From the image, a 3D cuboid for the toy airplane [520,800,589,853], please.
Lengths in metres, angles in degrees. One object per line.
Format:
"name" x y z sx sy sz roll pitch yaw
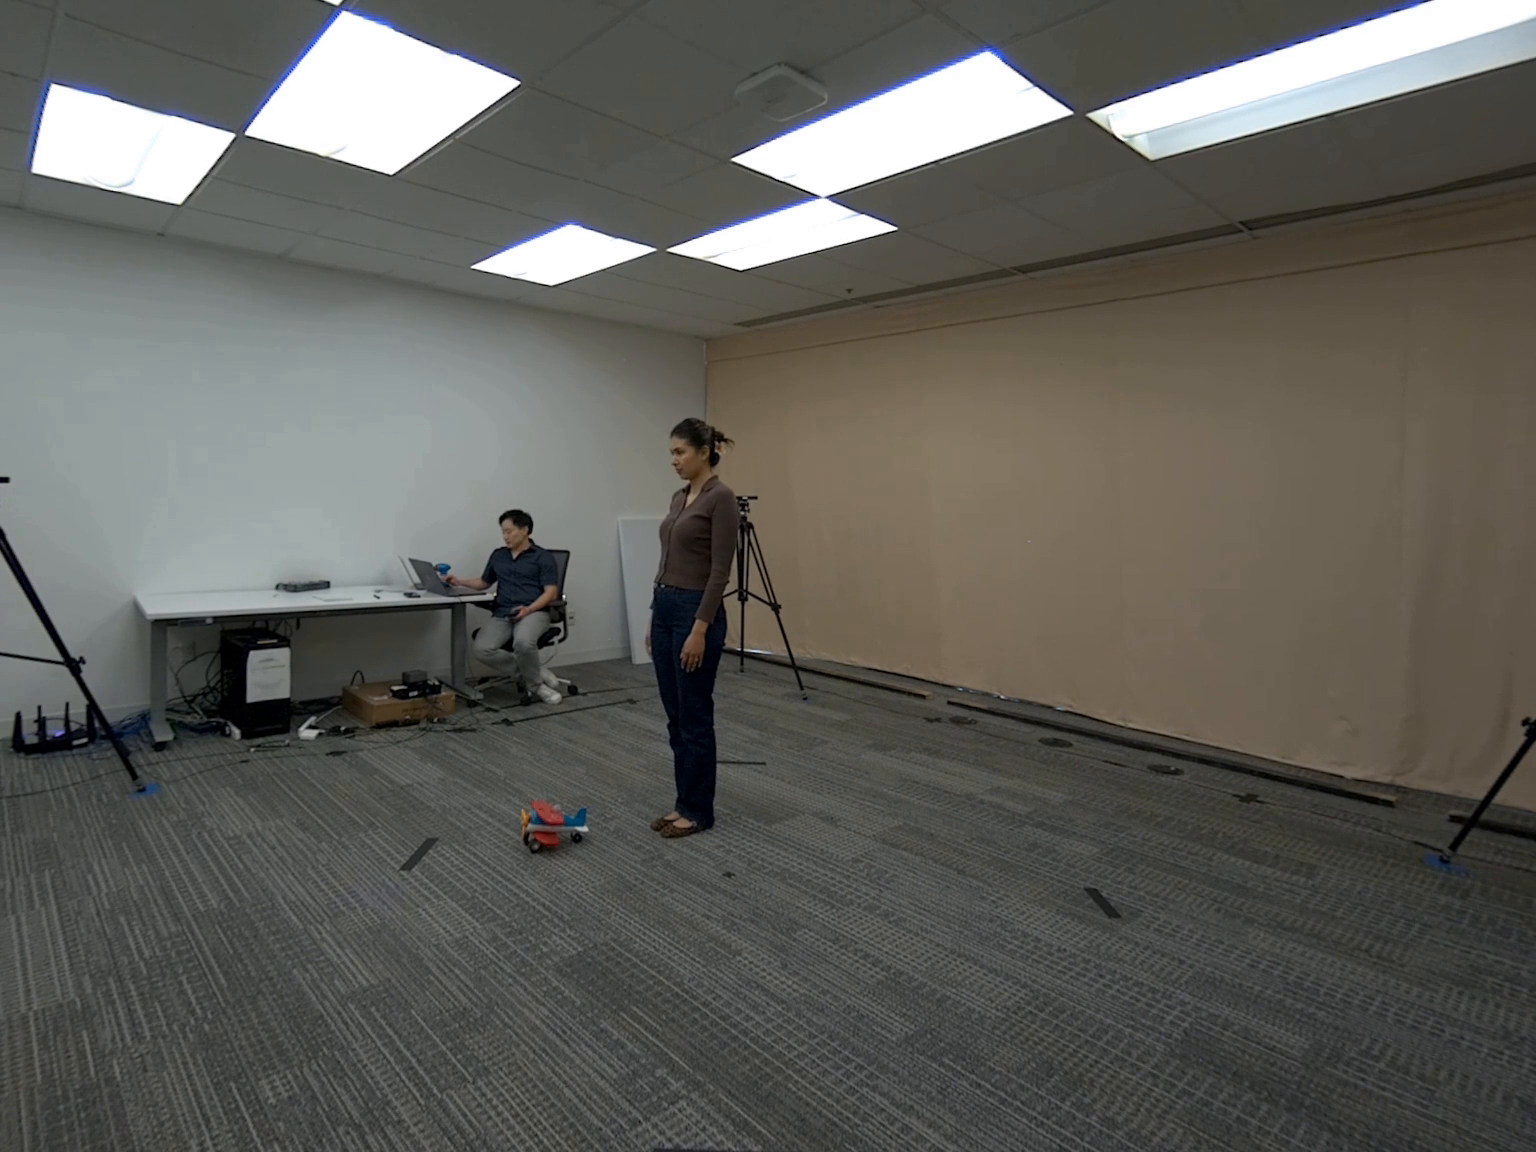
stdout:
"toy airplane" -0.867 0.991 3.346 0.257 0.156 0.254 4 6 32
